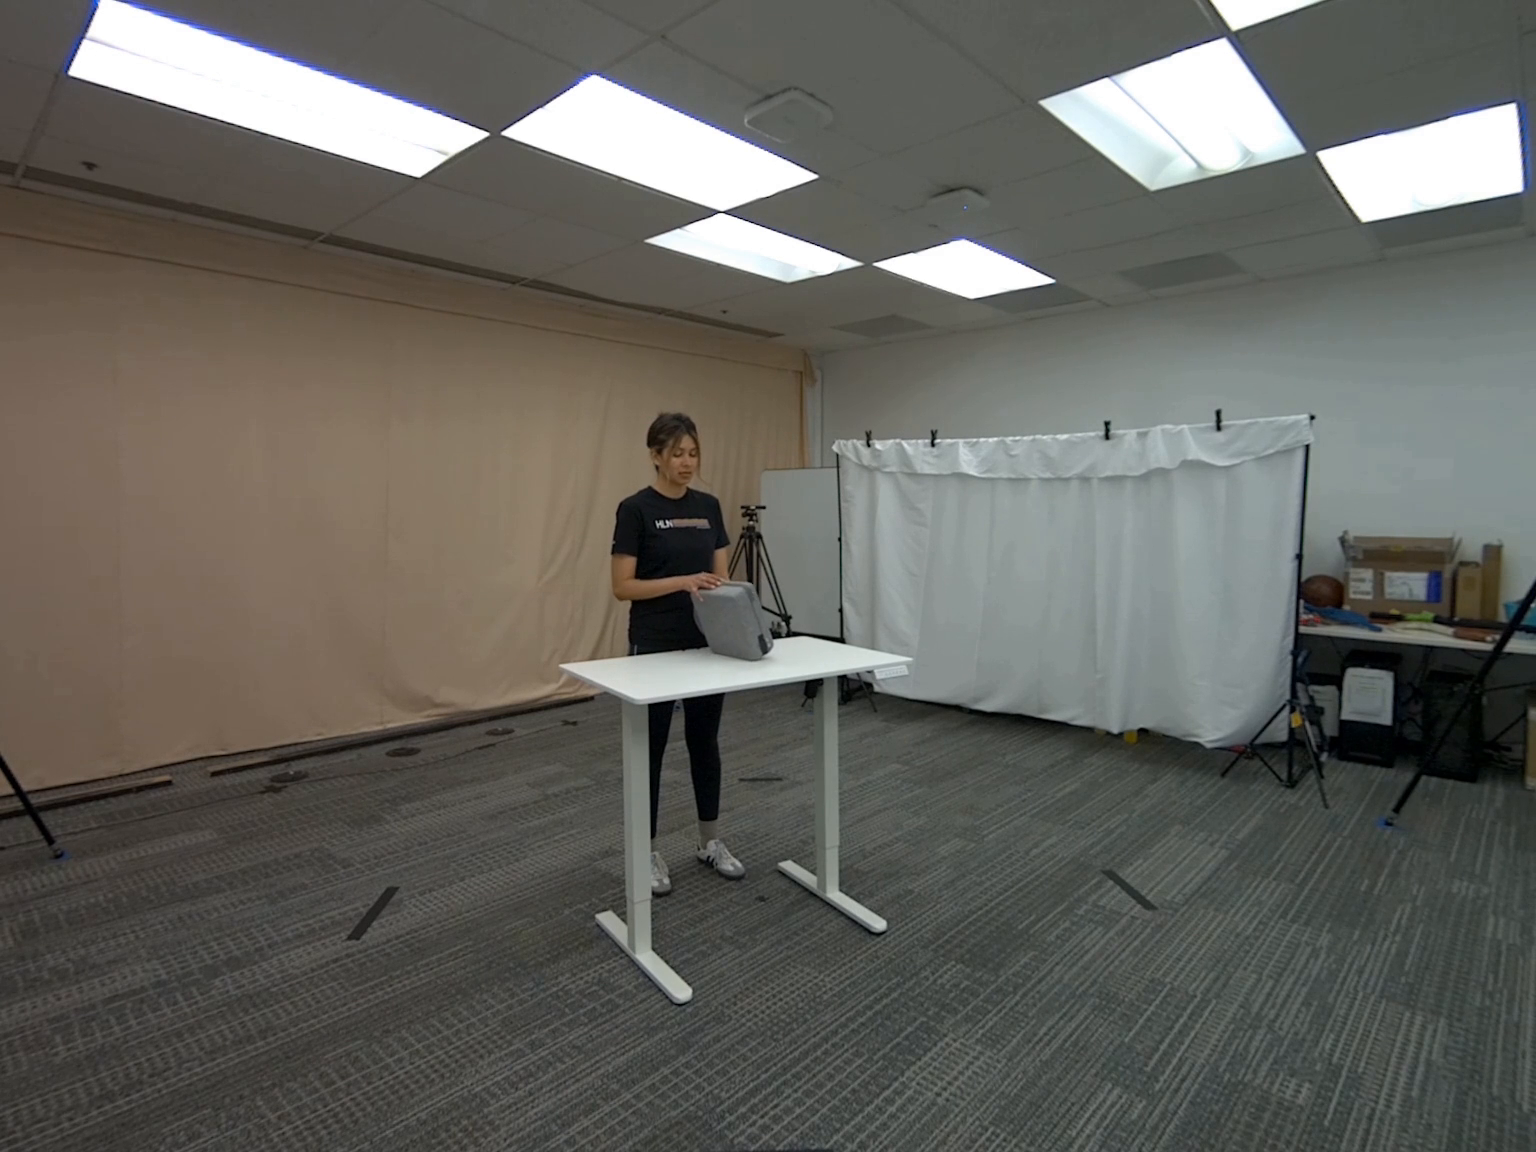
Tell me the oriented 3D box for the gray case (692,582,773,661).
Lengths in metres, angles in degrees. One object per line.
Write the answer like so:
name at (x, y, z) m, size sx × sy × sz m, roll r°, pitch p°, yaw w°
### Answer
gray case at (-0.121, 0.146, 2.816) m, size 0.102 × 0.253 × 0.269 m, roll -30°, pitch 20°, yaw -37°
